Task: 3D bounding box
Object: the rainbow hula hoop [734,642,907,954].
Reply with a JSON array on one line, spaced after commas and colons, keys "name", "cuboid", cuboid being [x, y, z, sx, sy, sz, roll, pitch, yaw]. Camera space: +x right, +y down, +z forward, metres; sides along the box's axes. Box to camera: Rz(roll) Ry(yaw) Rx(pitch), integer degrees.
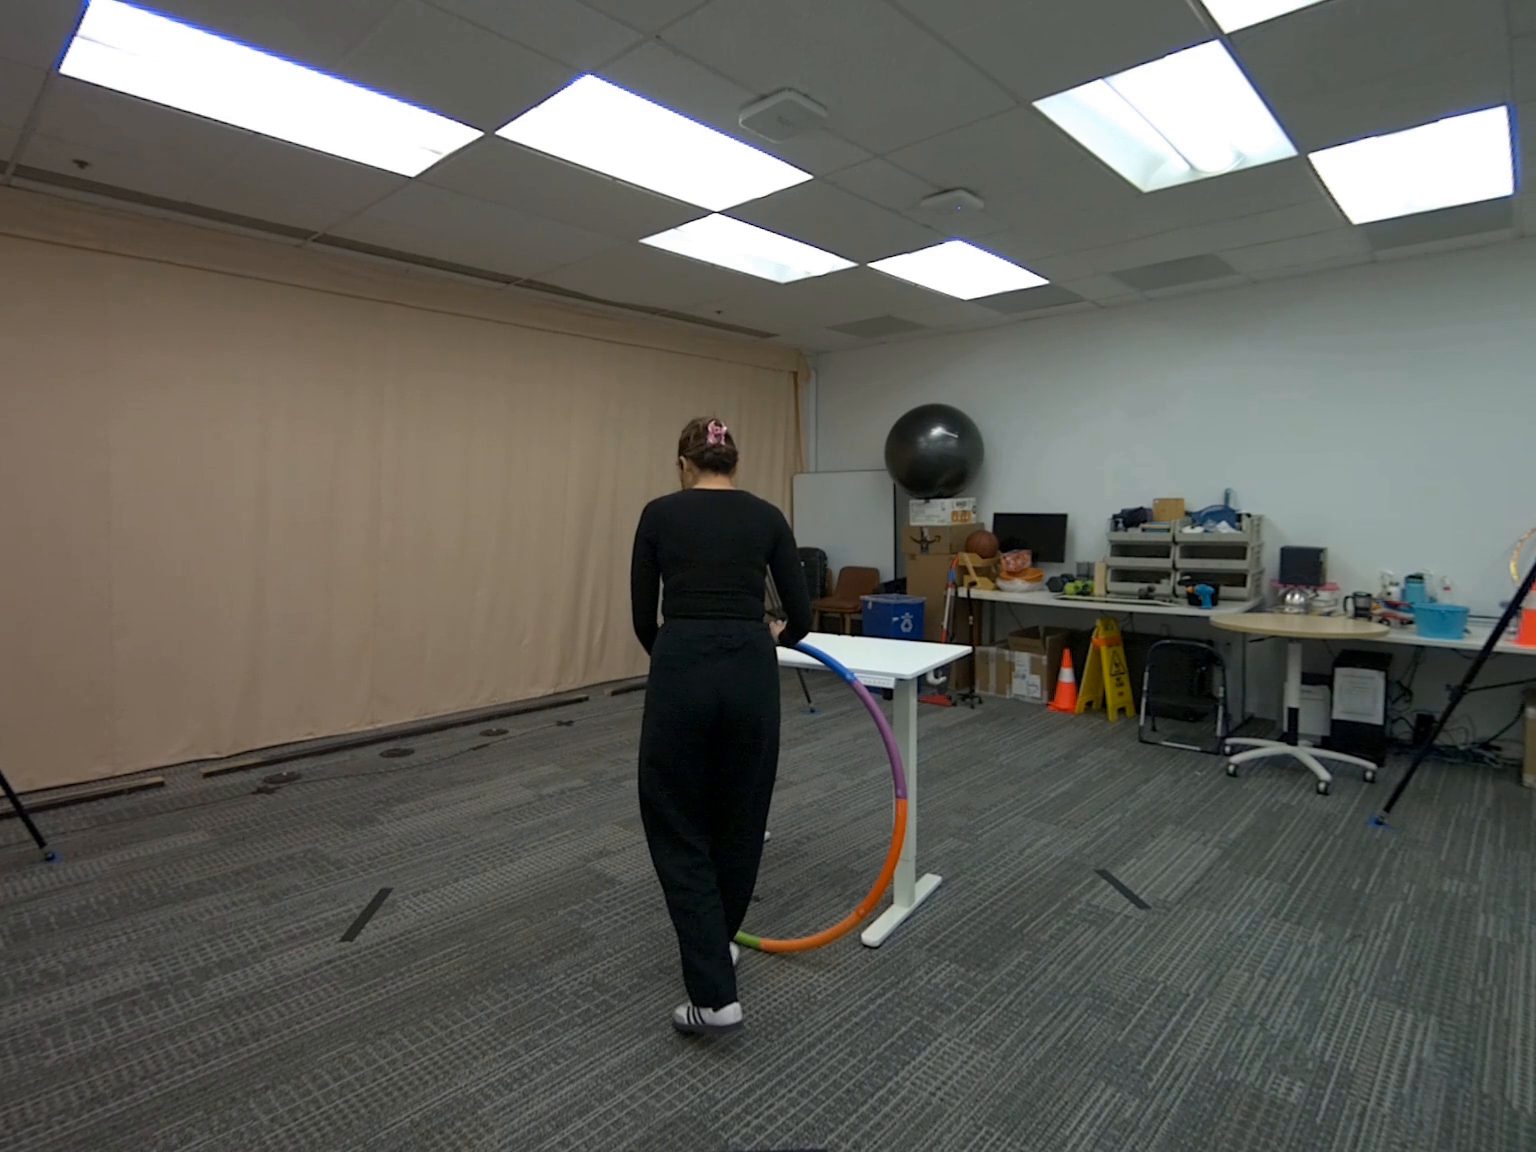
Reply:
[{"name": "rainbow hula hoop", "cuboid": [-0.024, 0.685, 2.726, 1.009, 0.982, 0.034, 3, -8, 34]}]
